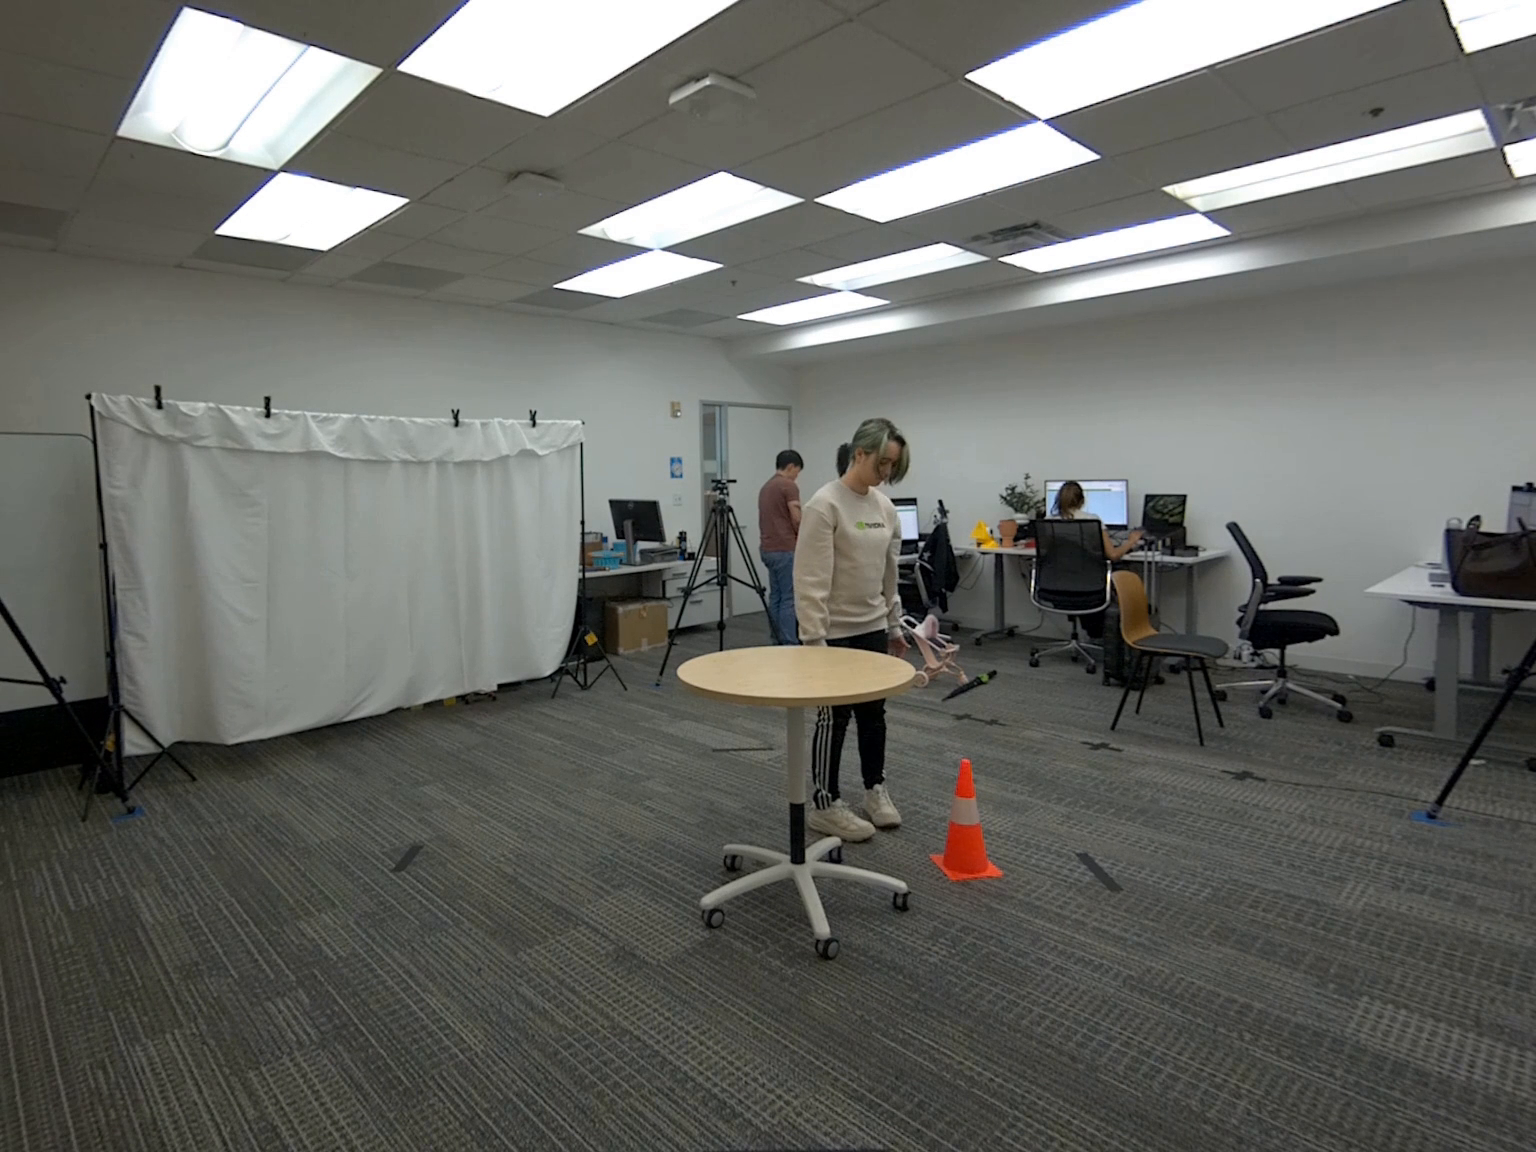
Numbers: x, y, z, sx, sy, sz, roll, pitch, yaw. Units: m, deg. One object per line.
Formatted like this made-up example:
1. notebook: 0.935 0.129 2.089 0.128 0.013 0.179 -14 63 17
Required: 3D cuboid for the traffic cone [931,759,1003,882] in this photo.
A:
1. traffic cone: 0.709 0.856 3.051 0.202 0.382 0.207 -2 4 -9
